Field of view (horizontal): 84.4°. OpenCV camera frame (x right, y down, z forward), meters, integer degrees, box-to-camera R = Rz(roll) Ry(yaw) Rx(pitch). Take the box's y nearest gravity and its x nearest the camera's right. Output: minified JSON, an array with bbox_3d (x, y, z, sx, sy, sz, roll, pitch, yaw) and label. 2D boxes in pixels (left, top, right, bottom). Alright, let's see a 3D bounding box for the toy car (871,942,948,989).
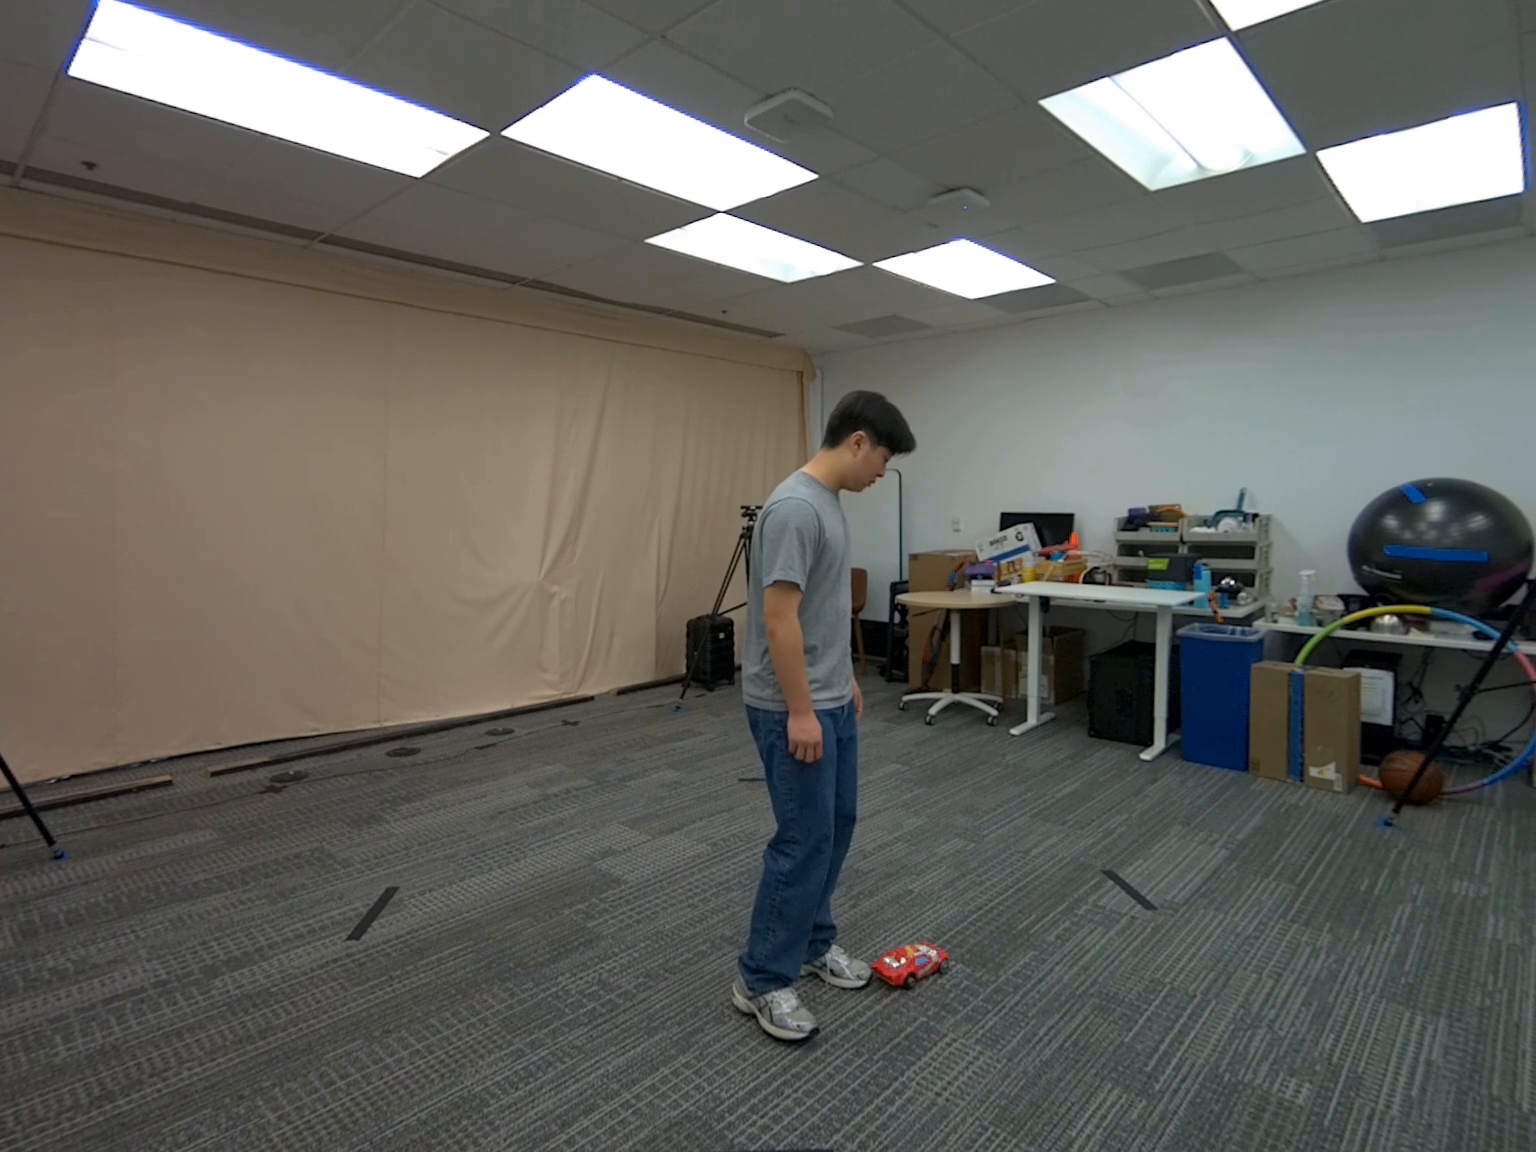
[{"bbox_3d":[0.423,1.151,2.487,0.246,0.083,0.134,11,-2,-34],"label":"toy car"}]
